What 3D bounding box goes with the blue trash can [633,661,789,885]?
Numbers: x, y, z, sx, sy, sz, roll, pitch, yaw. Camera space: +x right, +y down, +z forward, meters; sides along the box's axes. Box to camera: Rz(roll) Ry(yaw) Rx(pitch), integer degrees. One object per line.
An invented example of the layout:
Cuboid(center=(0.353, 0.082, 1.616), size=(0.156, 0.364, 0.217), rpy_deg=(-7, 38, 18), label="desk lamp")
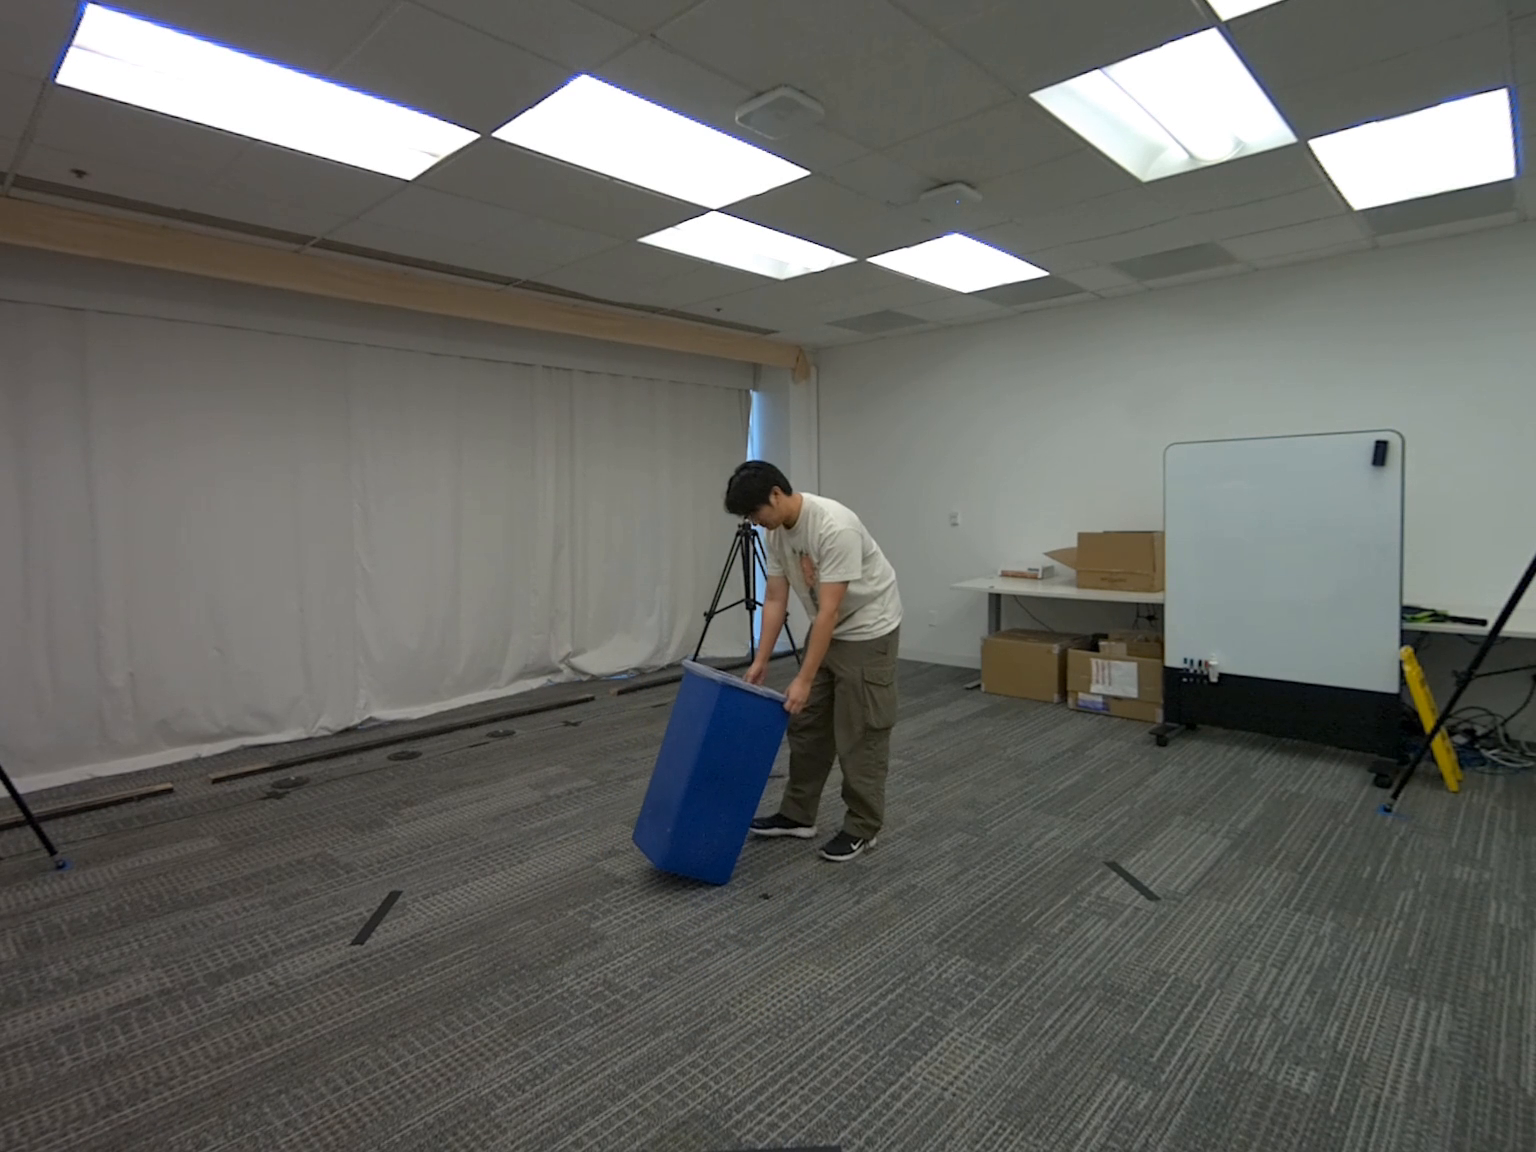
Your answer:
Cuboid(center=(-0.223, 0.730, 3.176), size=(0.363, 0.714, 0.388), rpy_deg=(24, -8, -27), label="blue trash can")
